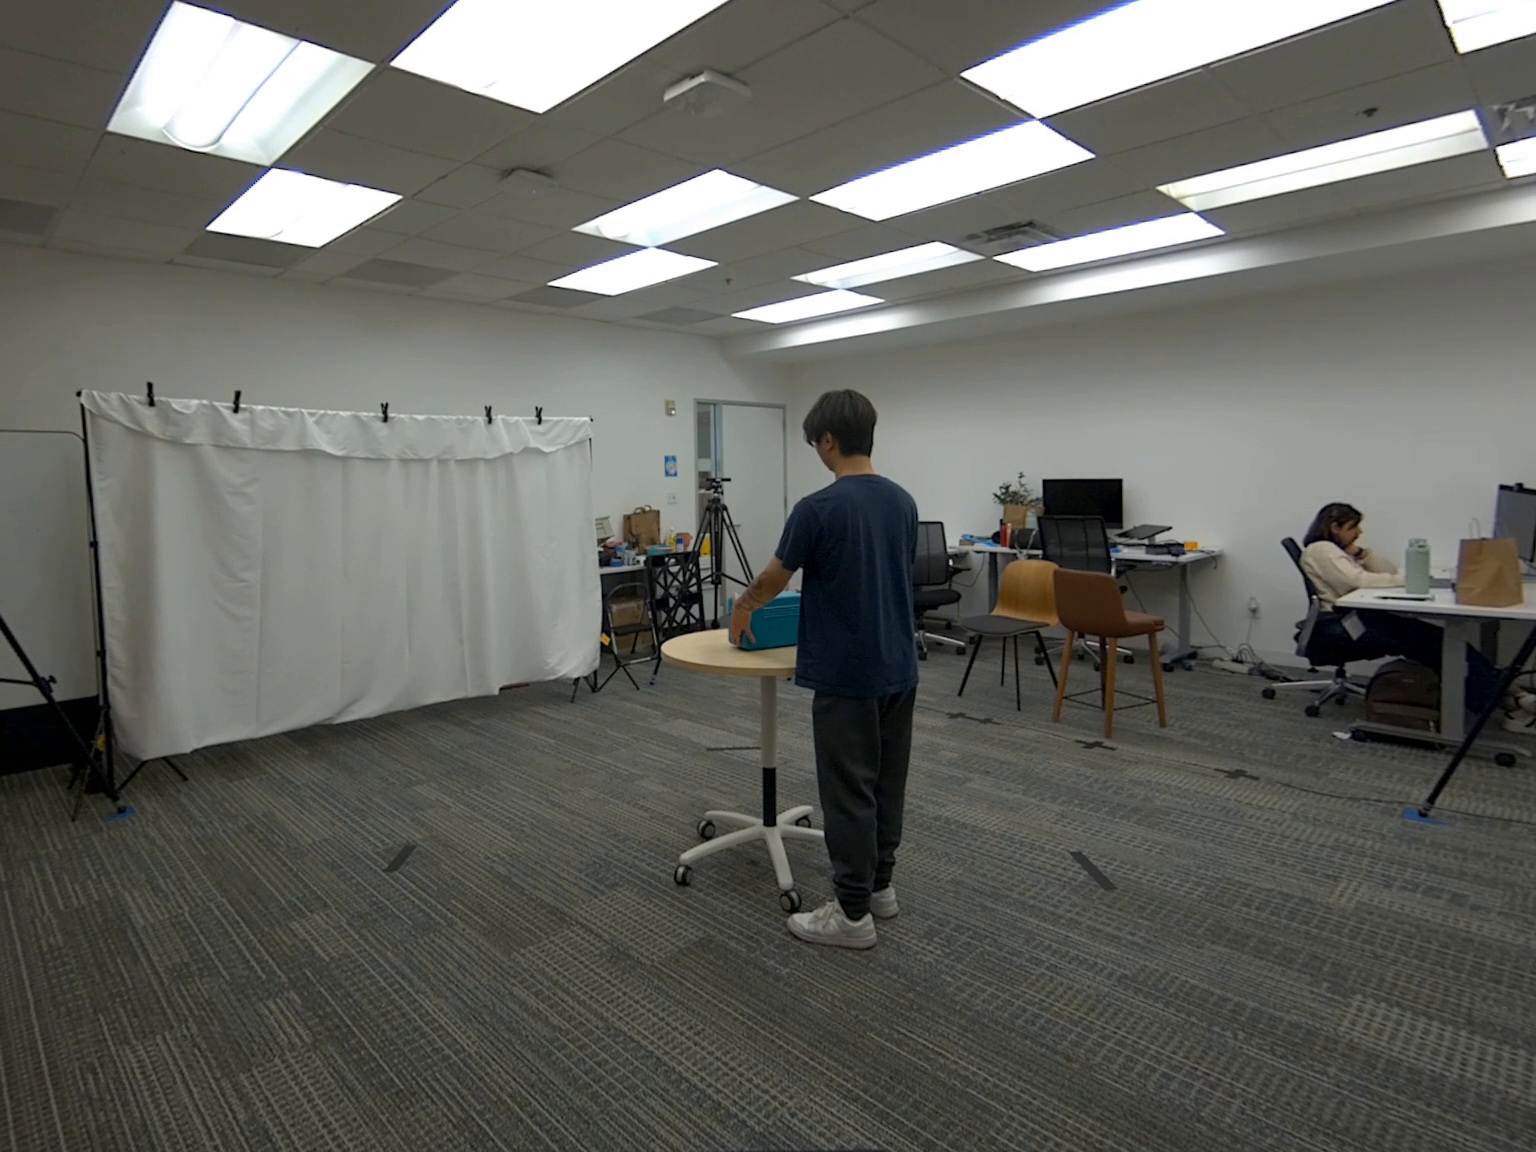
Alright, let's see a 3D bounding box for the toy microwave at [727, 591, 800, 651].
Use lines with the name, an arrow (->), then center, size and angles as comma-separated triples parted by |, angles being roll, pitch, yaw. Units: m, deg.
toy microwave -> 0.003, 0.154, 3.056 | 0.280, 0.183, 0.156 | -4, 5, -24
